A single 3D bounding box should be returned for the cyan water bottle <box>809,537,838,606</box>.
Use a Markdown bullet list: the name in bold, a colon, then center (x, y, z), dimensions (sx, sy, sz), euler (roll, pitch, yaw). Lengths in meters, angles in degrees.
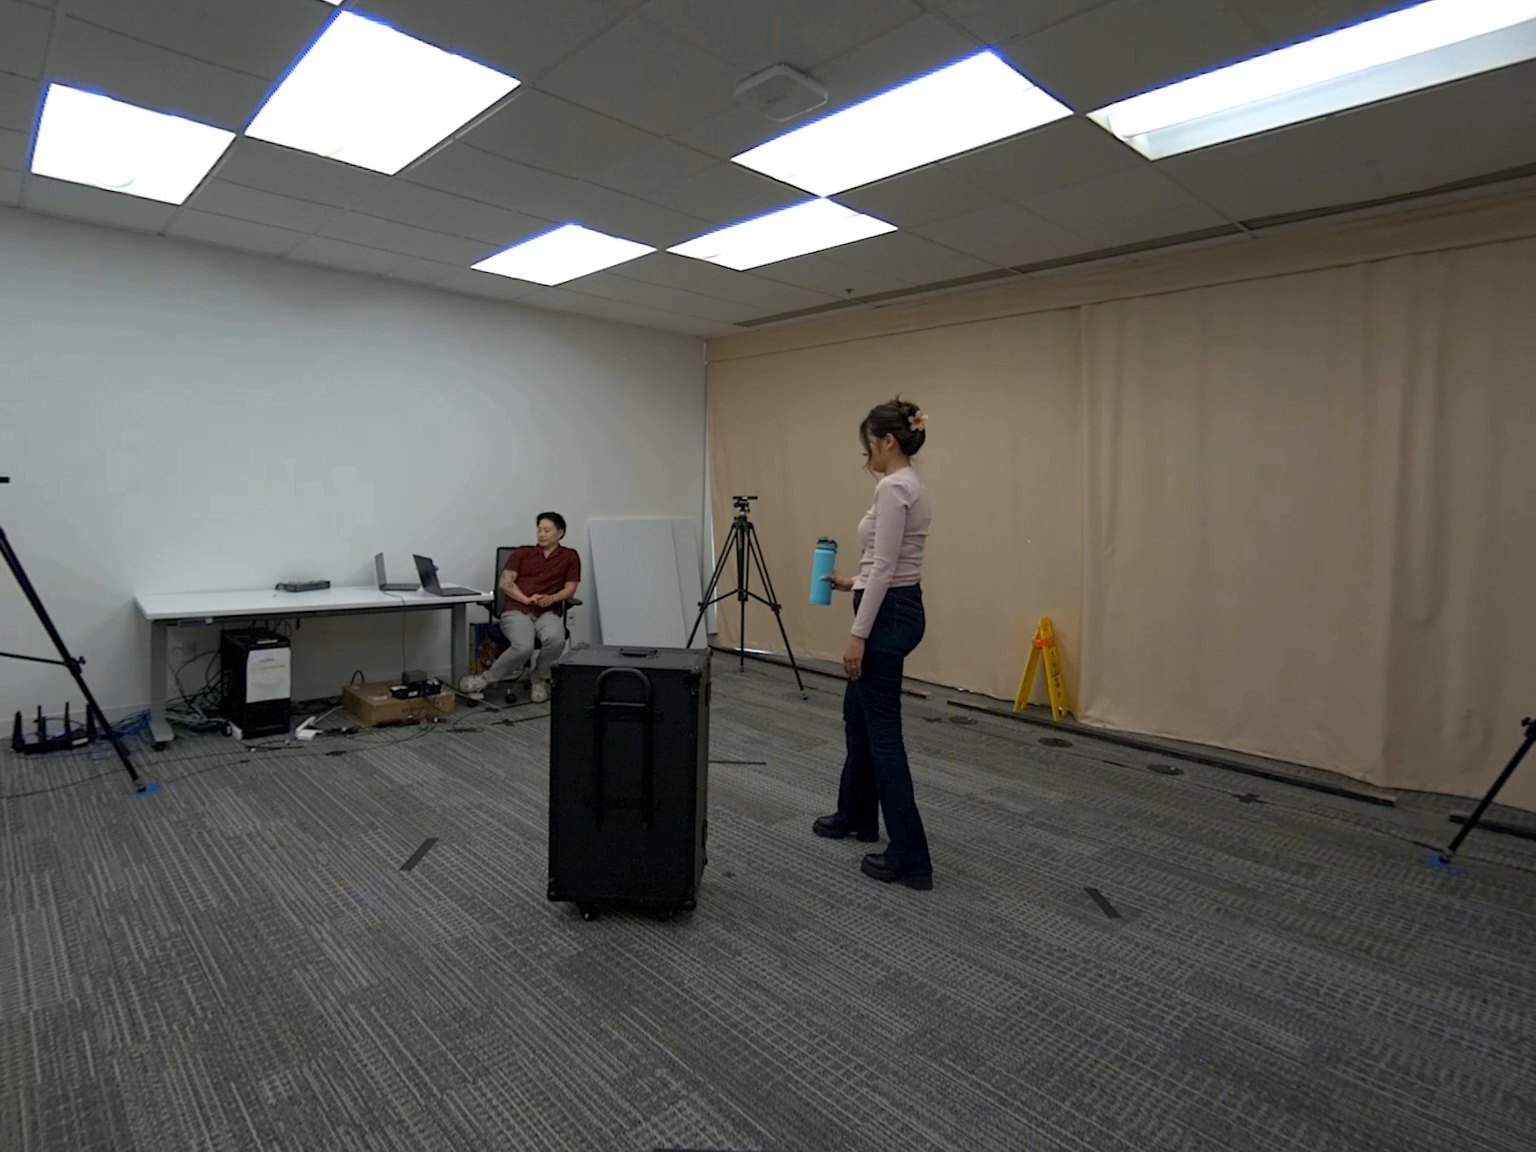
- **cyan water bottle**: center (0.228, -0.027, 3.508), dimensions (0.092, 0.284, 0.092), euler (7, -2, -1)
